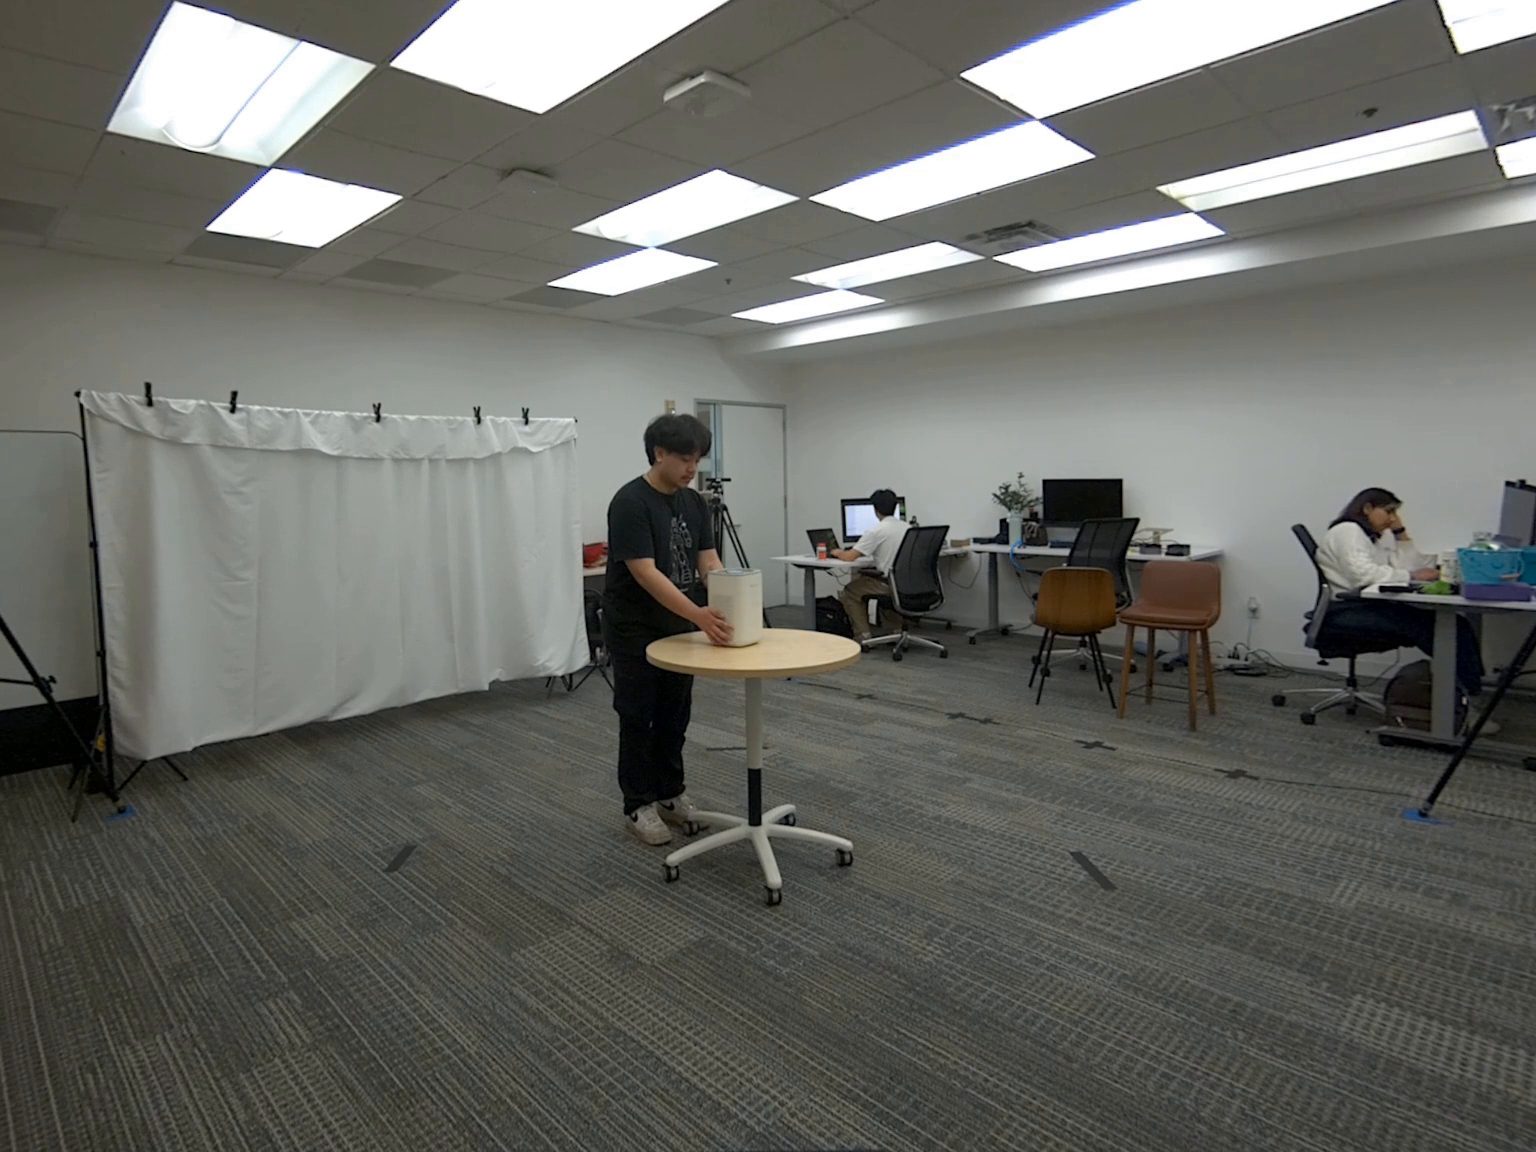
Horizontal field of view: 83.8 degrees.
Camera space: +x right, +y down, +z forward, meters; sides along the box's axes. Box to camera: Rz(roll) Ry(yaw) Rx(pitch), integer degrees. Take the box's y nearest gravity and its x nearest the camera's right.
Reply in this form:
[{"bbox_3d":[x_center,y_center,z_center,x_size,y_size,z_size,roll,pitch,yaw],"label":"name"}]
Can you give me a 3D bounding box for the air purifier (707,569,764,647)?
[{"bbox_3d":[-0.113,0.110,3.124,0.176,0.264,0.167,3,6,34],"label":"air purifier"}]
